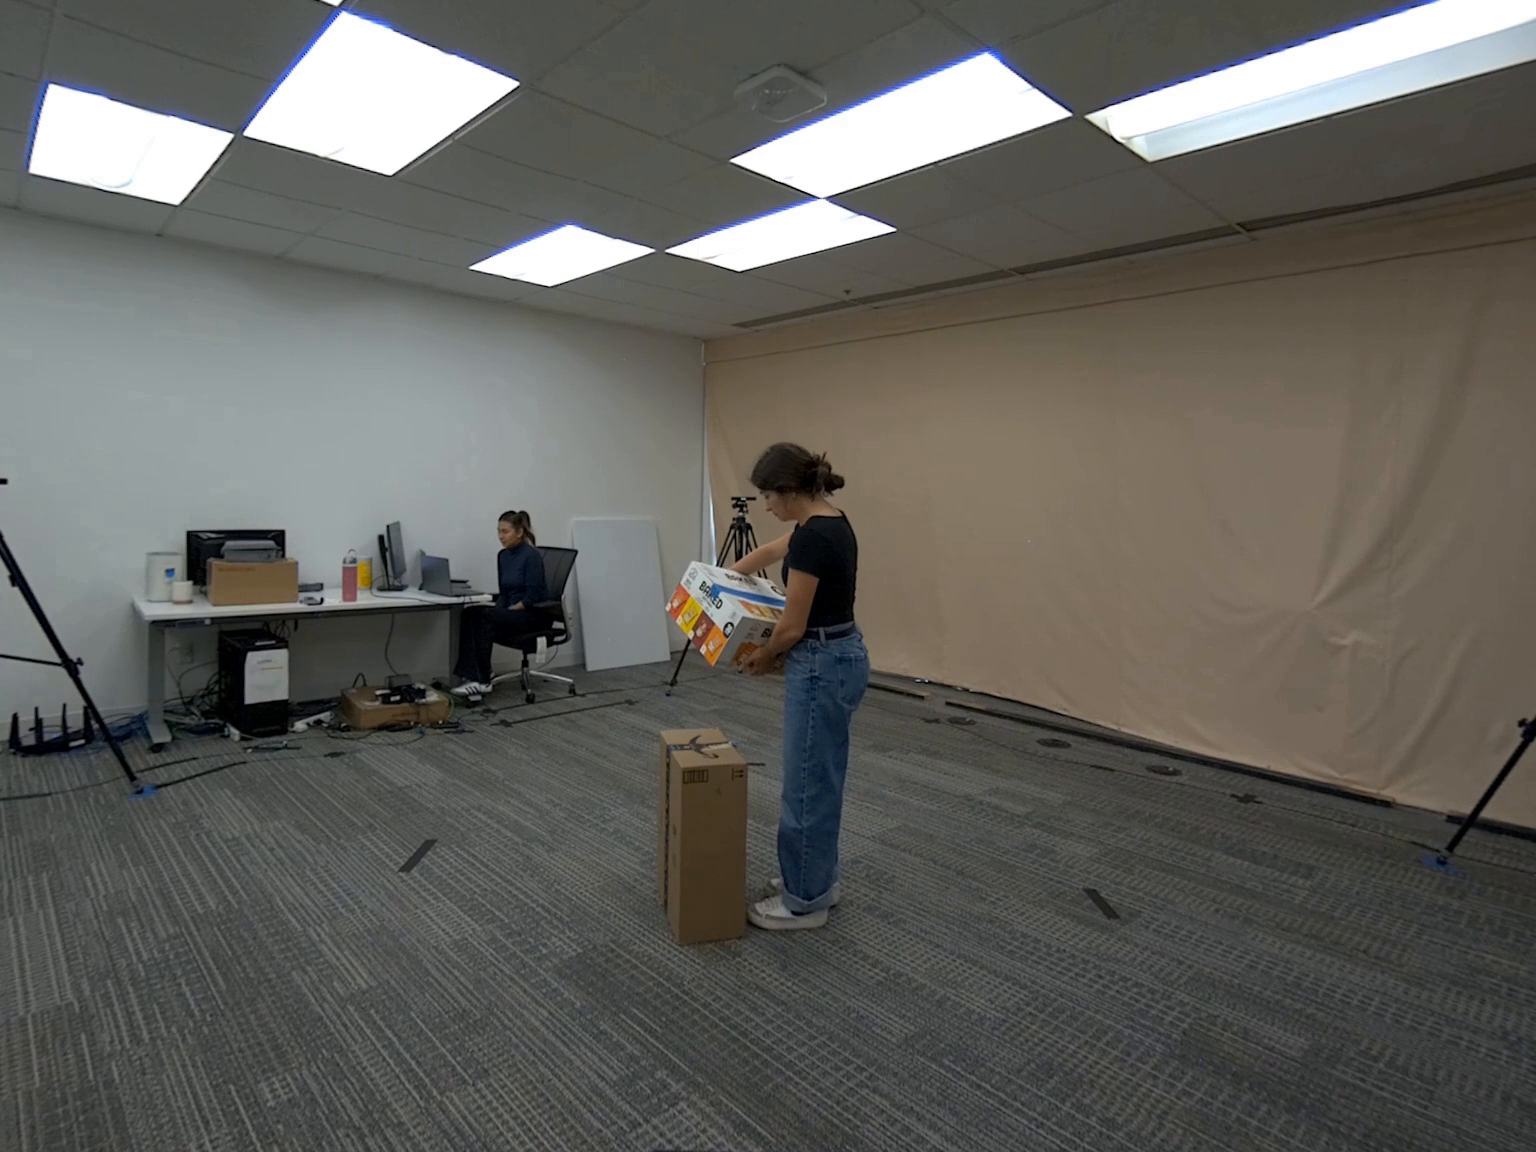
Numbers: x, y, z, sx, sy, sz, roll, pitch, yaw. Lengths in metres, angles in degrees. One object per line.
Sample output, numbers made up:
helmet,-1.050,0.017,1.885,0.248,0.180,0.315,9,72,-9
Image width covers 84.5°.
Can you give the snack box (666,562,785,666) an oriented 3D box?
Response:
snack box,-0.087,0.157,2.927,0.393,0.205,0.351,15,21,-44
